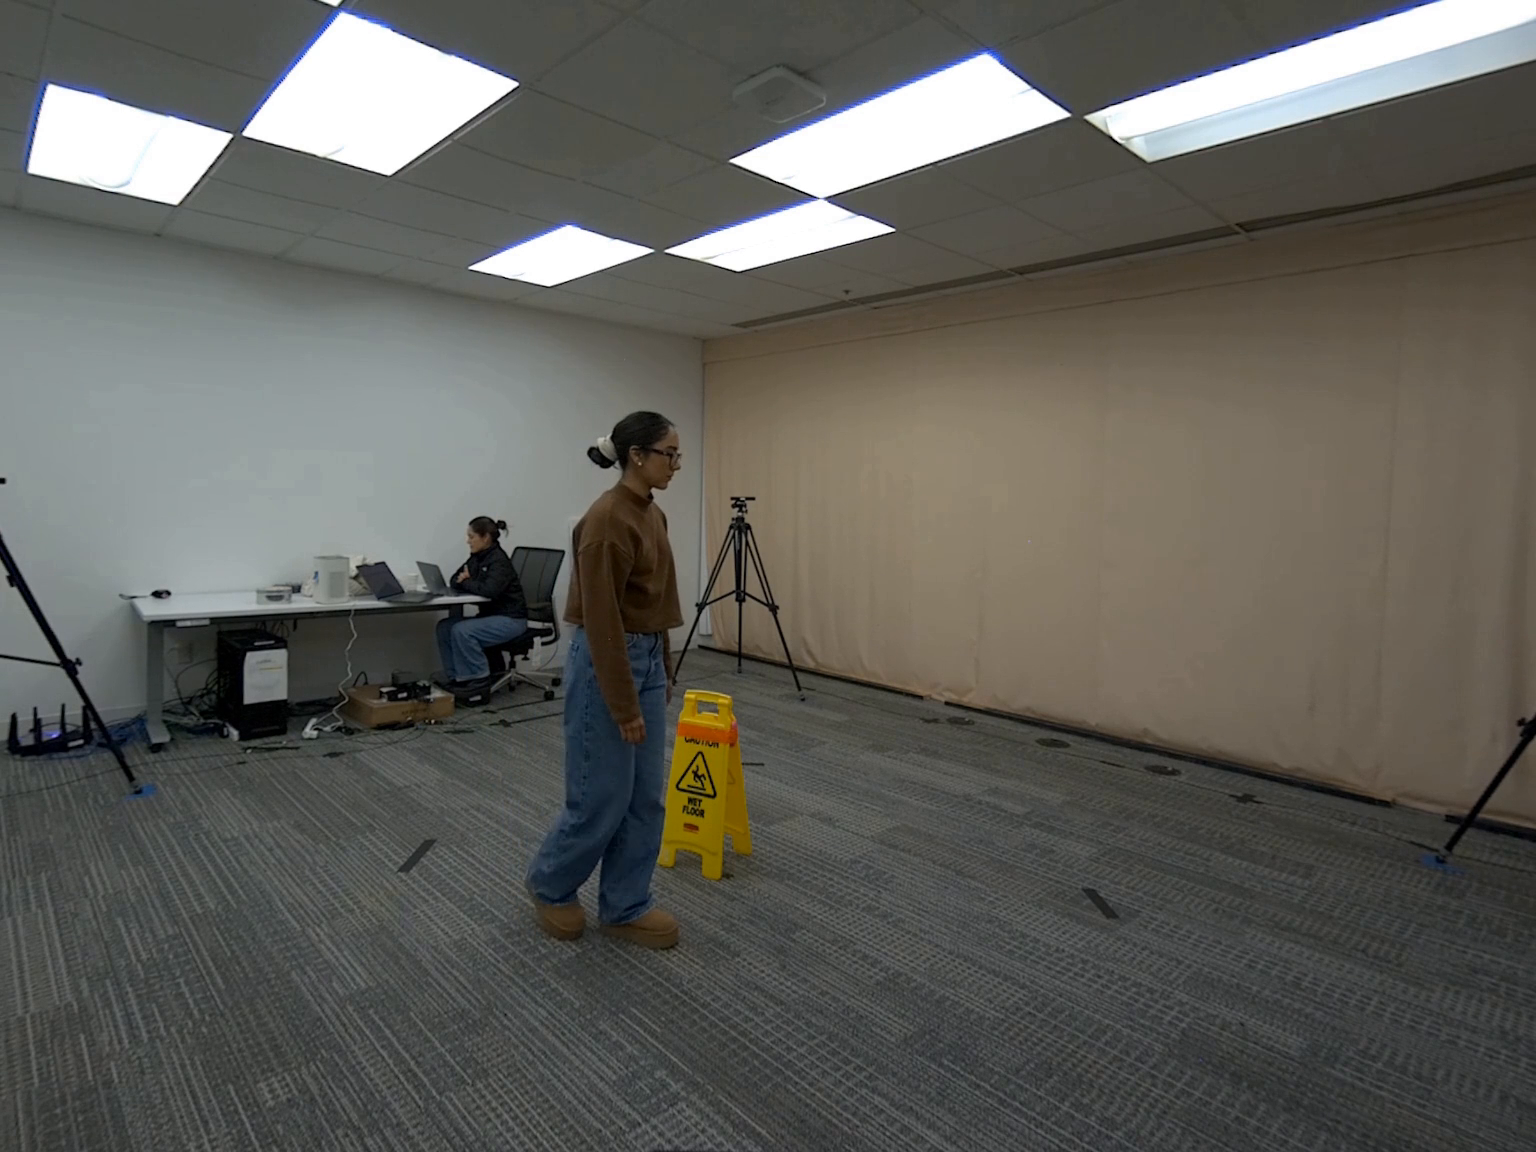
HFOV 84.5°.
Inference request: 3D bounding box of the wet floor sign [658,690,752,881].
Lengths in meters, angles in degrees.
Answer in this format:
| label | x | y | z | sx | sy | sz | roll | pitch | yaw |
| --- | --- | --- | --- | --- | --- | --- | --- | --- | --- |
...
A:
| label | x | y | z | sx | sy | sz | roll | pitch | yaw |
| --- | --- | --- | --- | --- | --- | --- | --- | --- | --- |
| wet floor sign | -0.245 | 0.770 | 3.226 | 0.288 | 0.644 | 0.285 | 2 | 4 | 26 |
